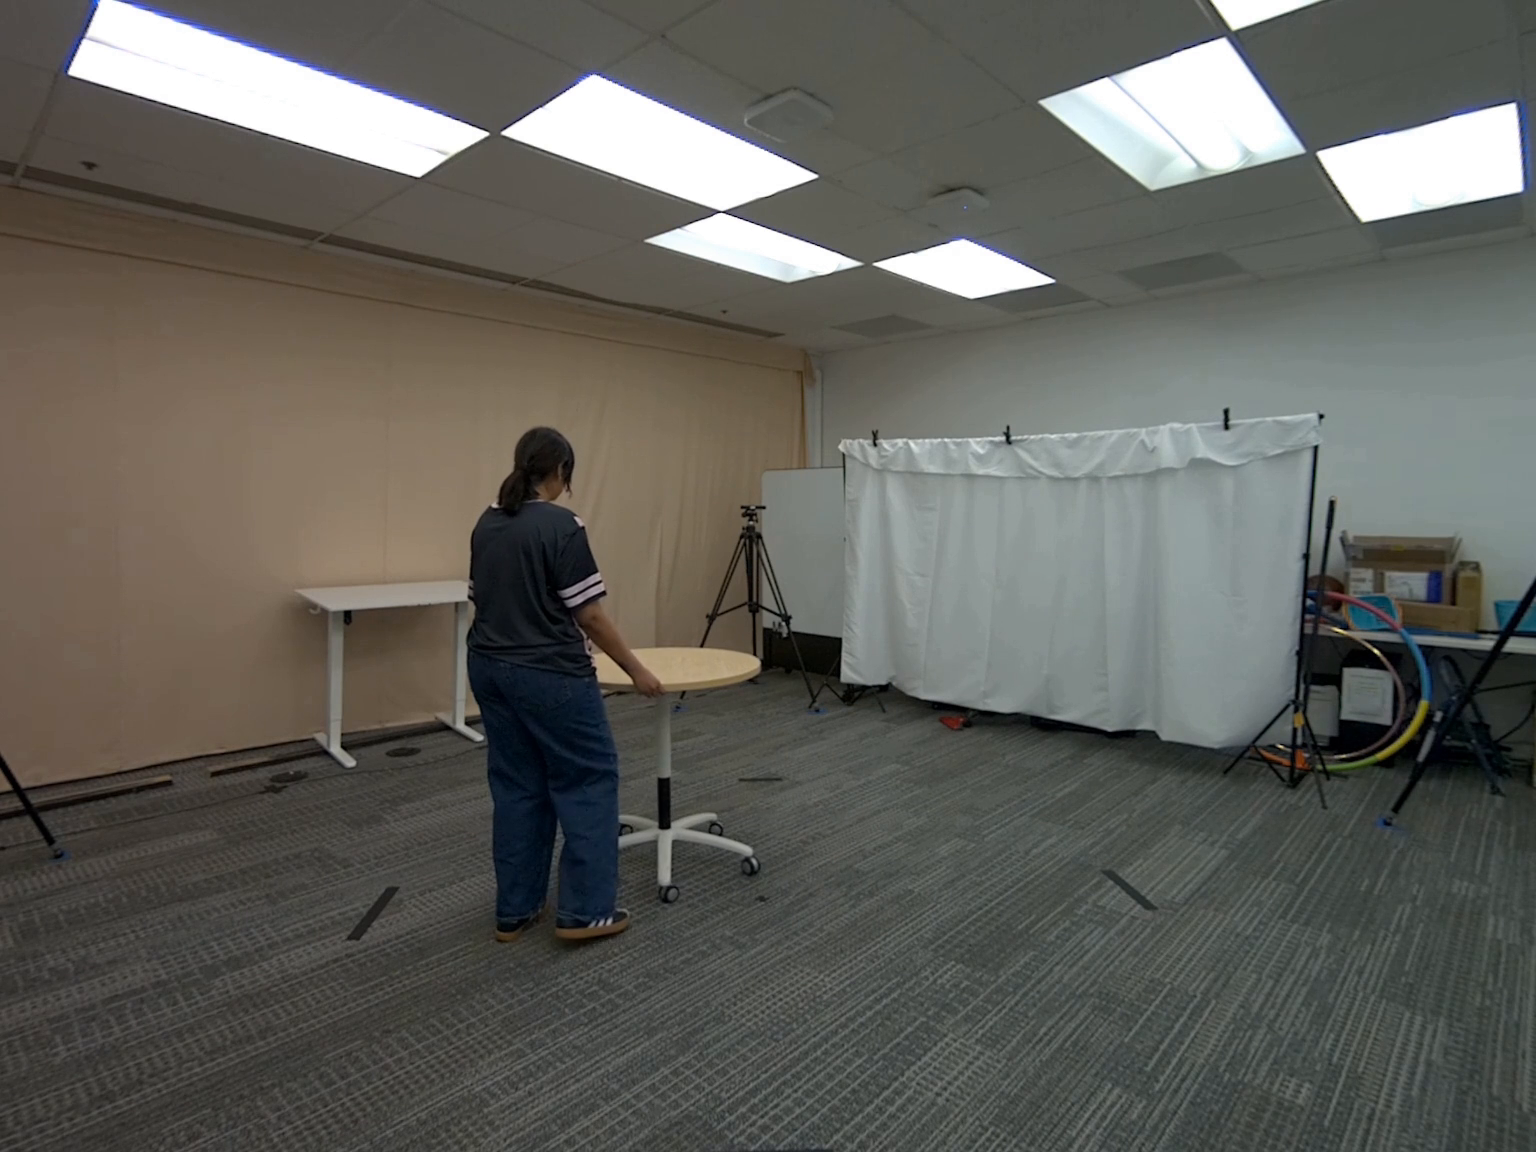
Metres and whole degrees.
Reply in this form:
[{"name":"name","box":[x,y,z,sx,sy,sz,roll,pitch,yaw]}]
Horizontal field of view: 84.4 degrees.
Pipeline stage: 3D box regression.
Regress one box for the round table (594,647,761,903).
[{"name":"round table","box":[-0.396,0.733,3.266,0.763,0.792,0.766,-1,3,-2]}]
